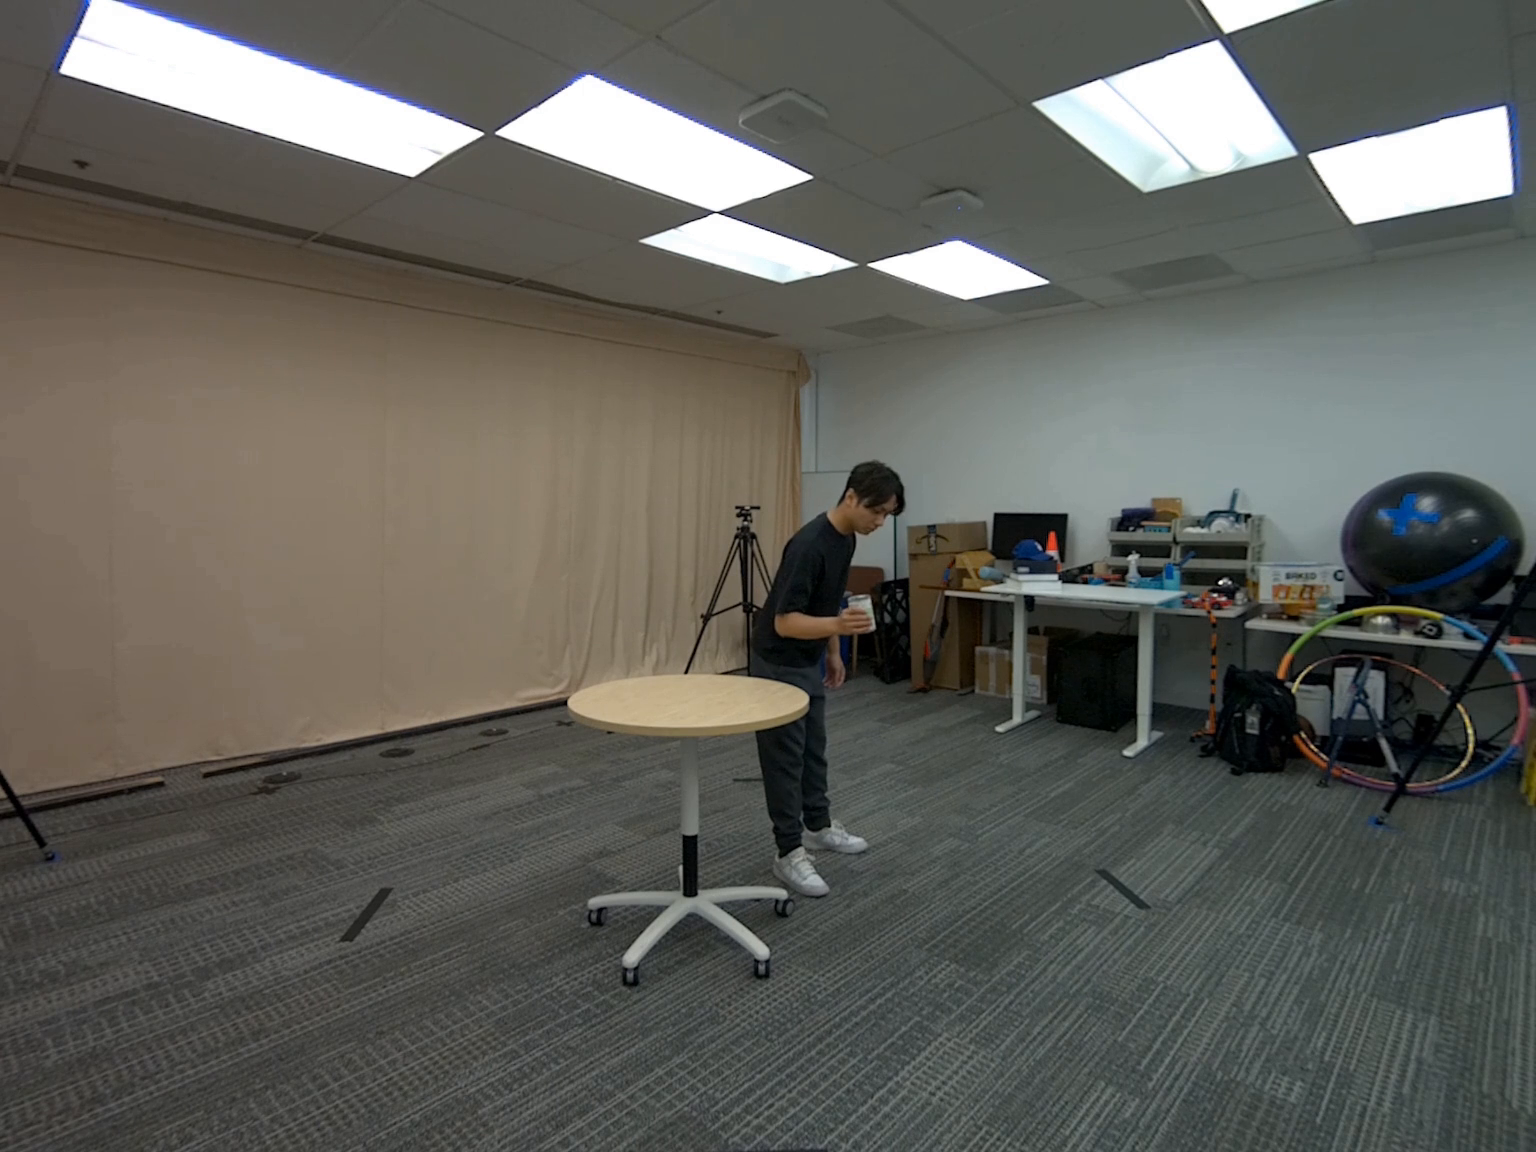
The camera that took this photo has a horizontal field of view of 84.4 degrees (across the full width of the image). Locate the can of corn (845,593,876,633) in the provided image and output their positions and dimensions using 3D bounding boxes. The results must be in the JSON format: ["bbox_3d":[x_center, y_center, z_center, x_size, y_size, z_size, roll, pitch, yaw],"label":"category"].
[{"bbox_3d":[0.303,0.123,2.756,0.074,0.110,0.074,-5,6,-1],"label":"can of corn"}]
